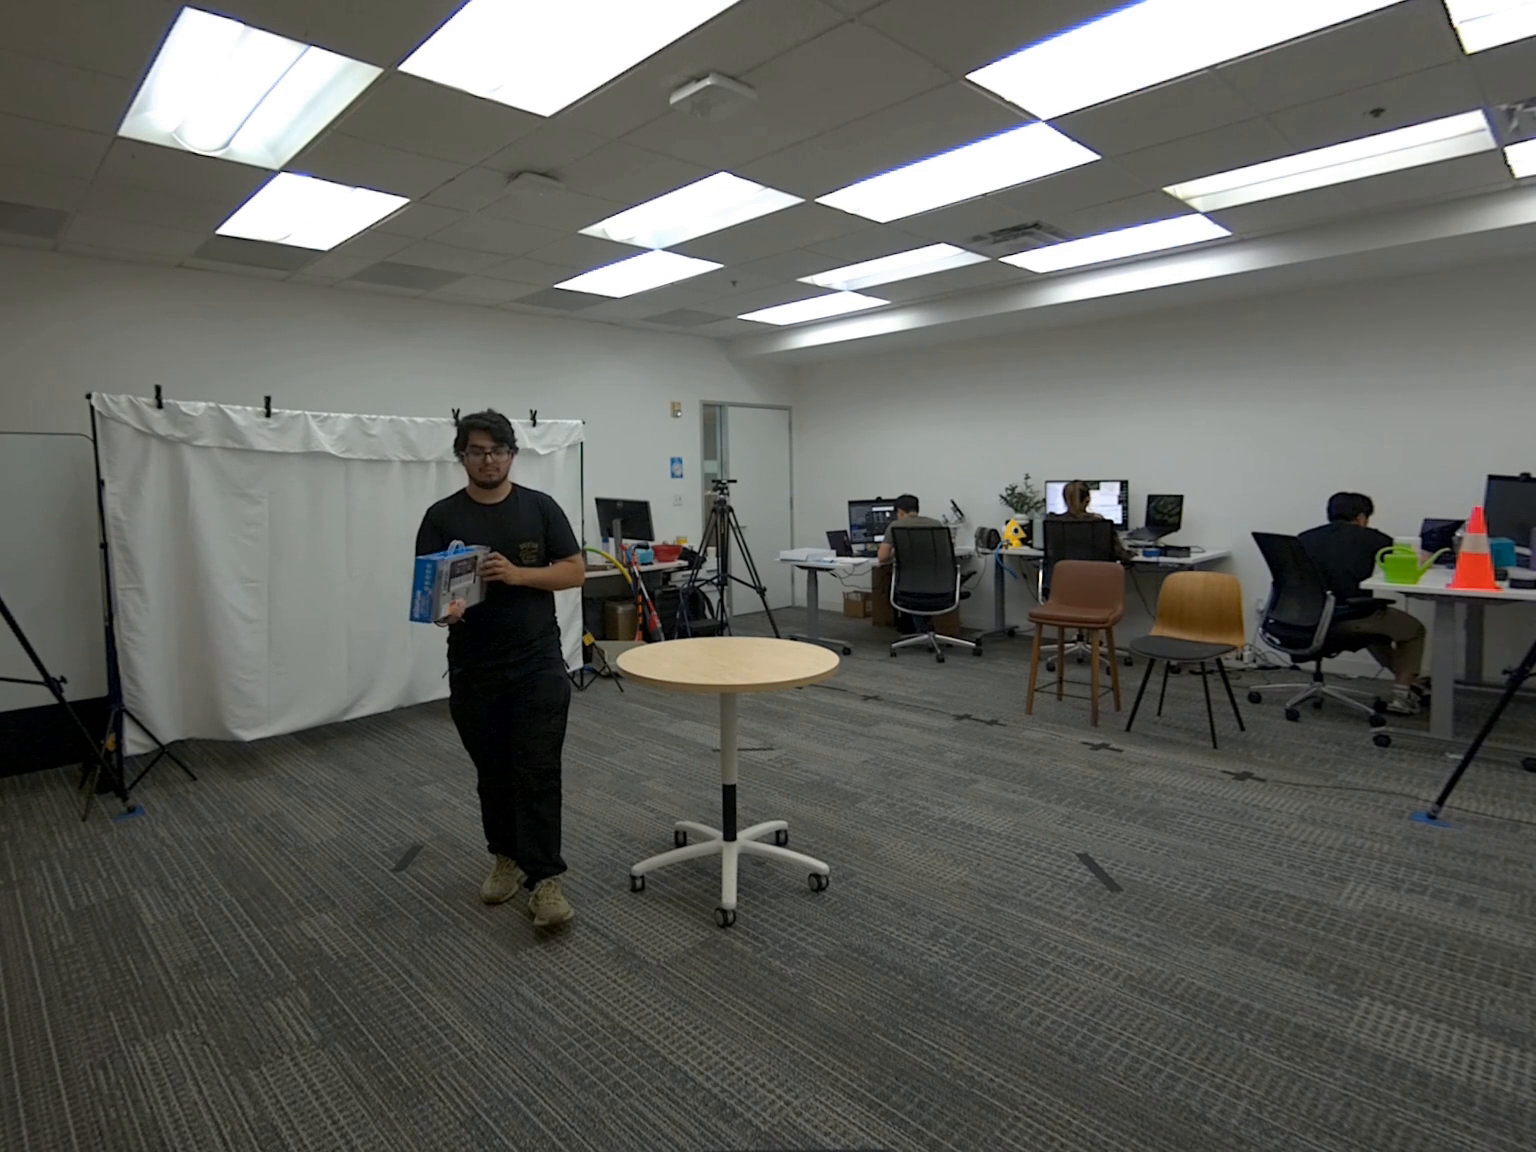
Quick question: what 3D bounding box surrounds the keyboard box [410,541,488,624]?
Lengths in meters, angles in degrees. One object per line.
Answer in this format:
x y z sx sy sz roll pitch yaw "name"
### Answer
-0.914 0.018 2.464 0.059 0.175 0.439 8 6 -2 "keyboard box"
